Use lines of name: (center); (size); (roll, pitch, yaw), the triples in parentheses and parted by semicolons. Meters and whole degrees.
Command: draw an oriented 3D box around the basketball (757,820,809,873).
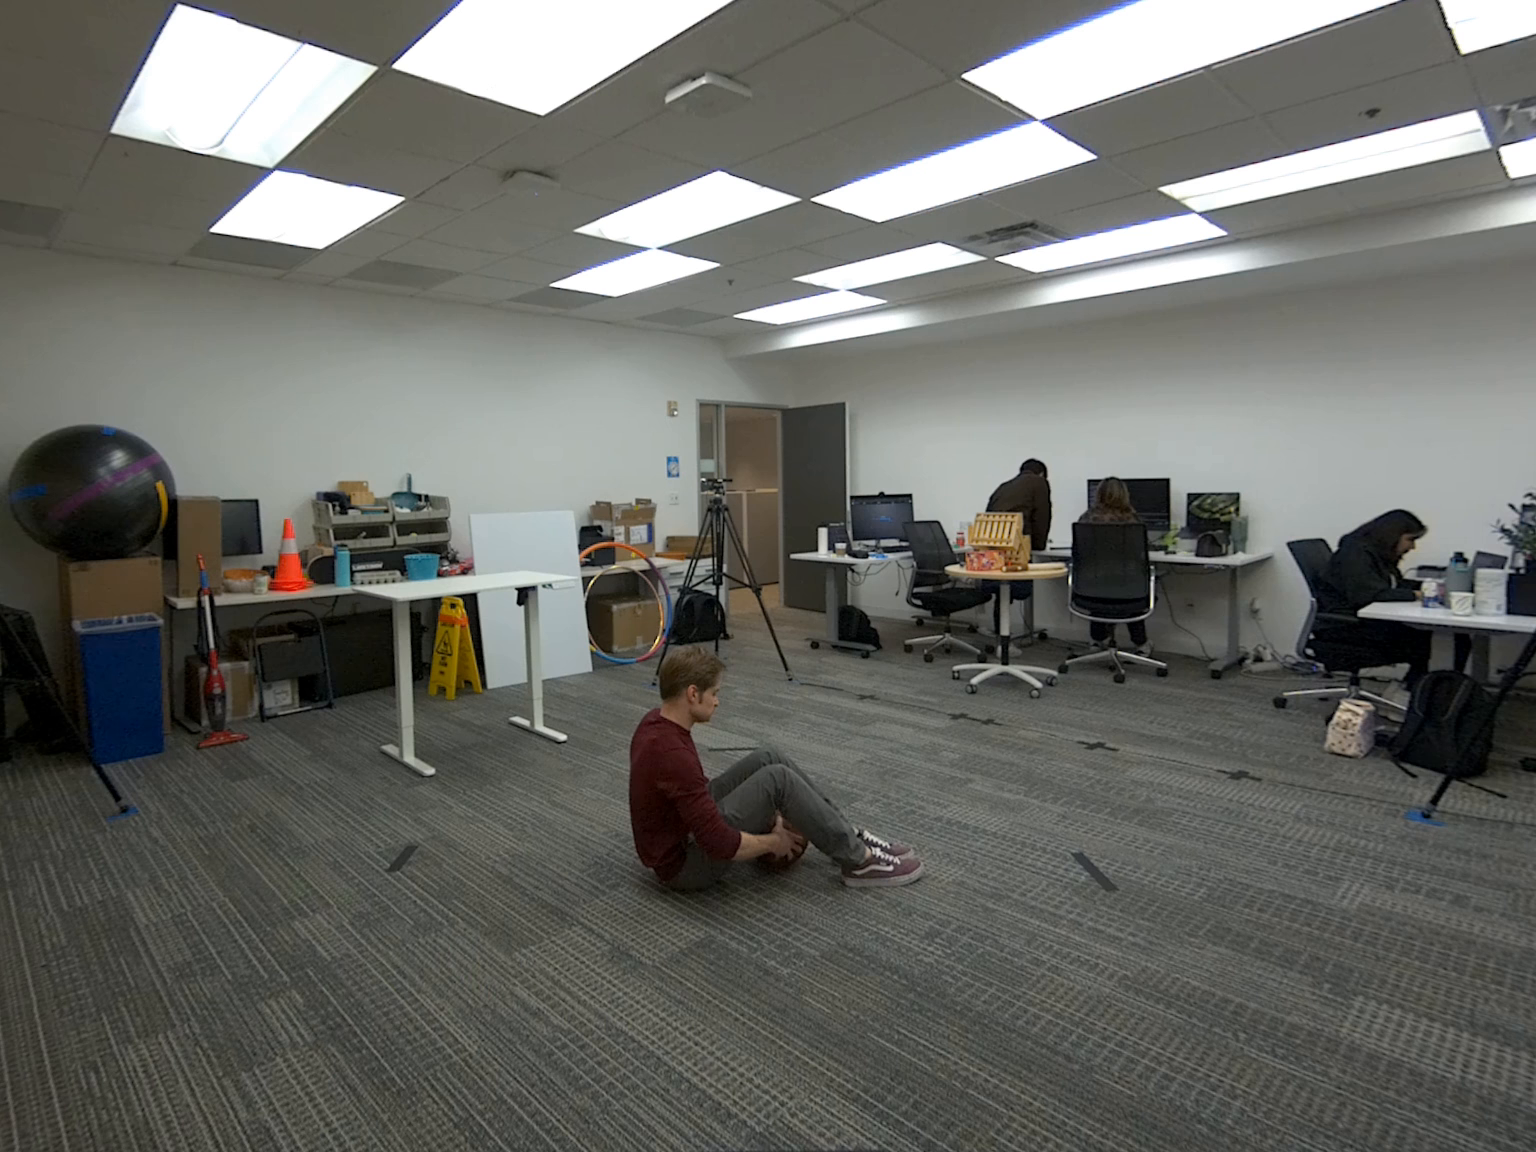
basketball: (0.031, 0.927, 3.082); (0.236, 0.235, 0.237); (-1, 5, -2)
